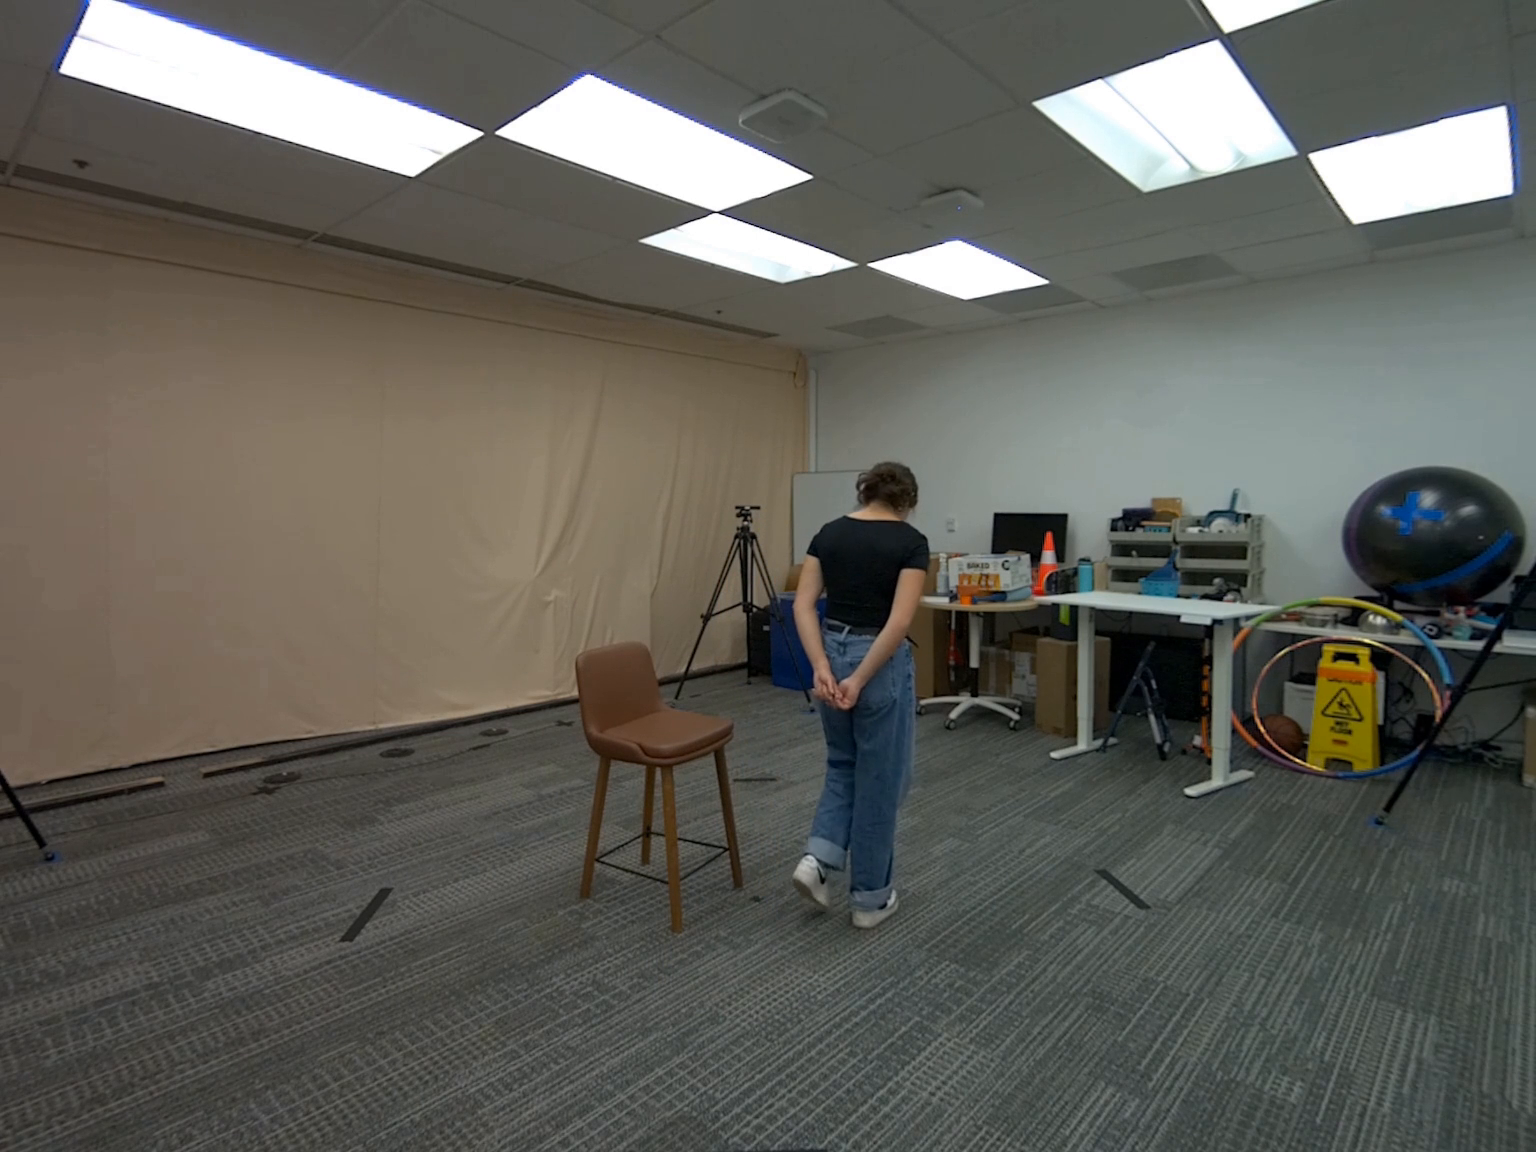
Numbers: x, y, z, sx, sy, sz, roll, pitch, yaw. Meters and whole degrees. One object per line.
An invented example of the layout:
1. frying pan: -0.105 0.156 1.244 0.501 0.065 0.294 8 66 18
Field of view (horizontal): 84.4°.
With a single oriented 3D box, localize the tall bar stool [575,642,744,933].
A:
1. tall bar stool: -0.390 0.710 3.015 0.481 0.888 0.444 0 2 33
